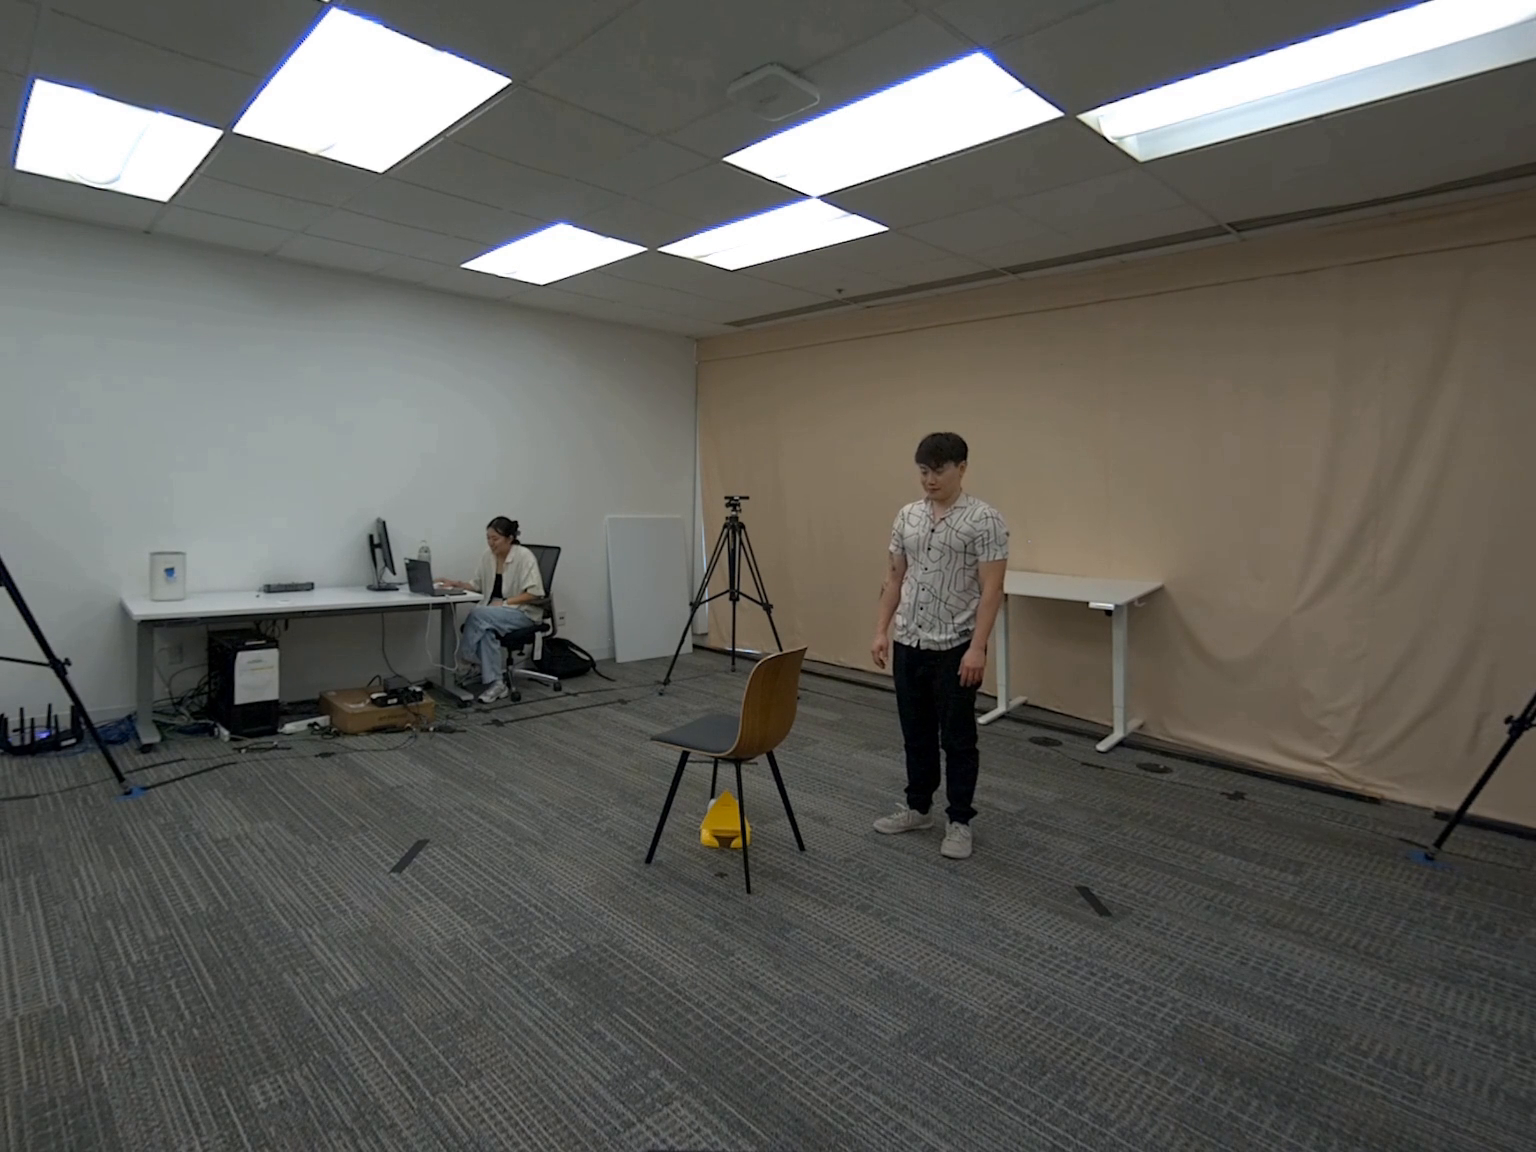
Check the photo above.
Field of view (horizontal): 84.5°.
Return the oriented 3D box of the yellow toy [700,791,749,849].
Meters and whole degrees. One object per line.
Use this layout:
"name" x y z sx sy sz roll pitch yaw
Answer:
"yellow toy" -0.176 0.960 3.418 0.205 0.230 0.193 2 5 0
